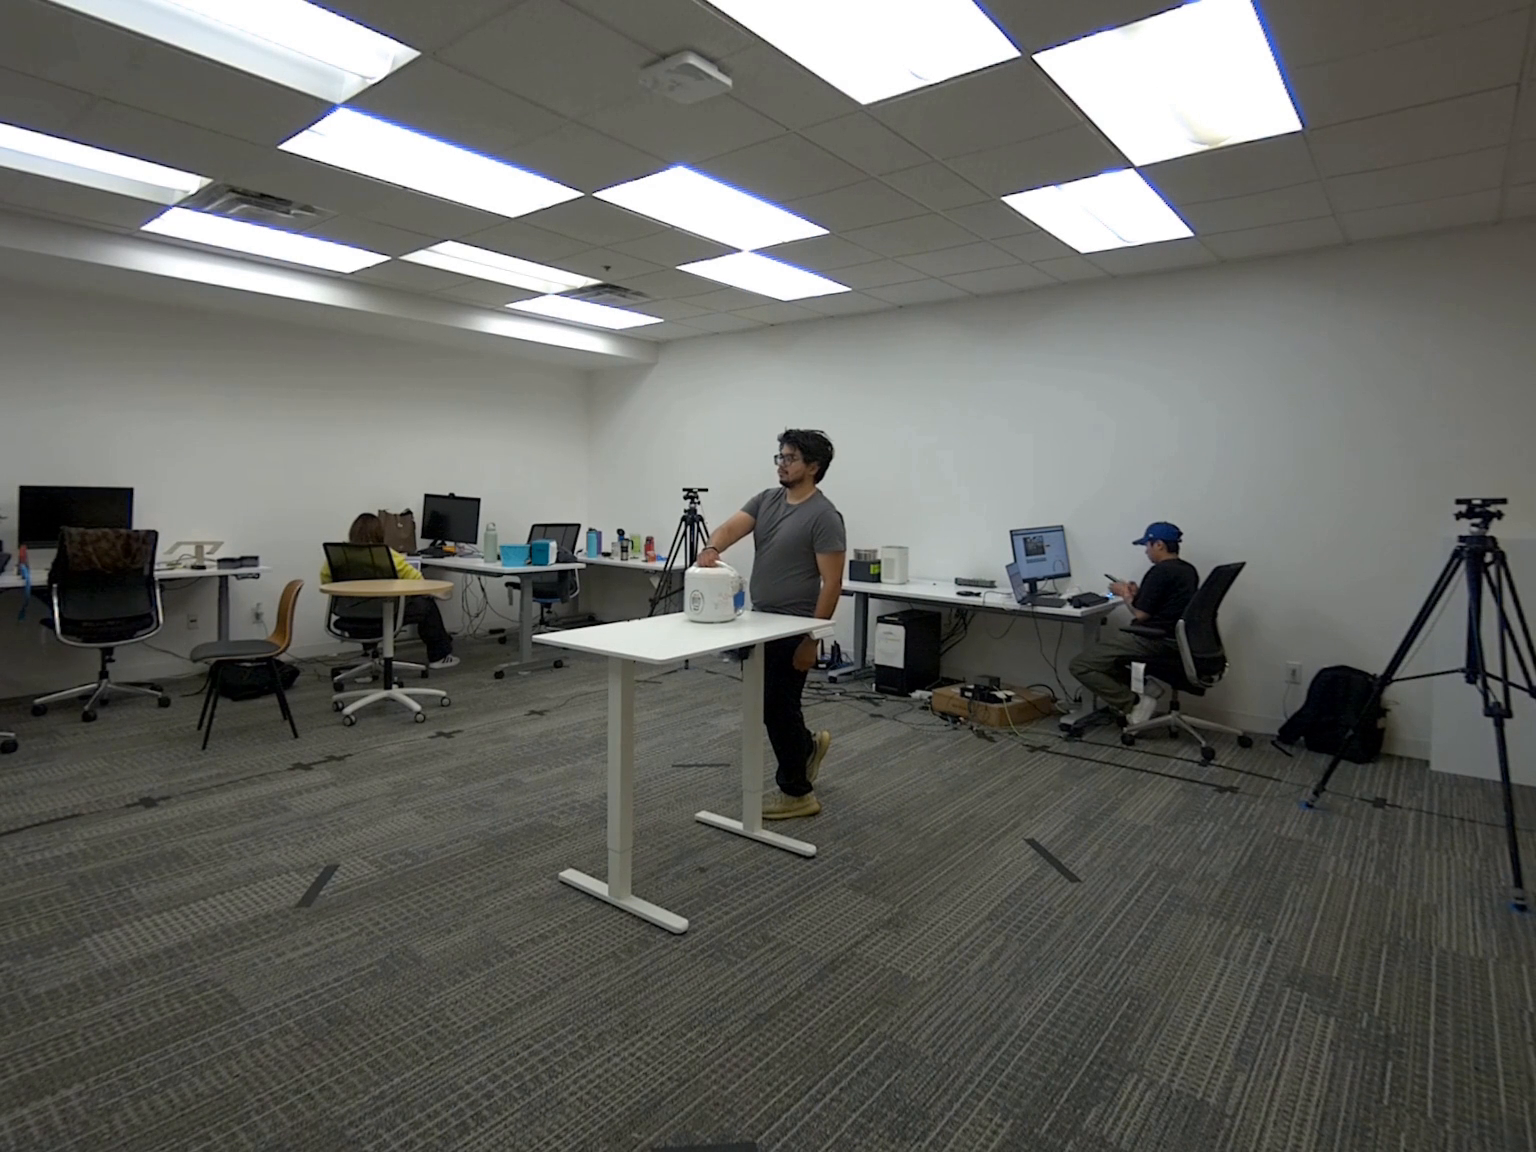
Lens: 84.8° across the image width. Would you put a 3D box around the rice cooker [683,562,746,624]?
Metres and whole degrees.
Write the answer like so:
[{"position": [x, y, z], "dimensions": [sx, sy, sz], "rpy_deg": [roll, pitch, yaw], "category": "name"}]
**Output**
[{"position": [-0.228, 0.052, 3.282], "dimensions": [0.227, 0.232, 0.212], "rpy_deg": [2, 3, 29], "category": "rice cooker"}]
